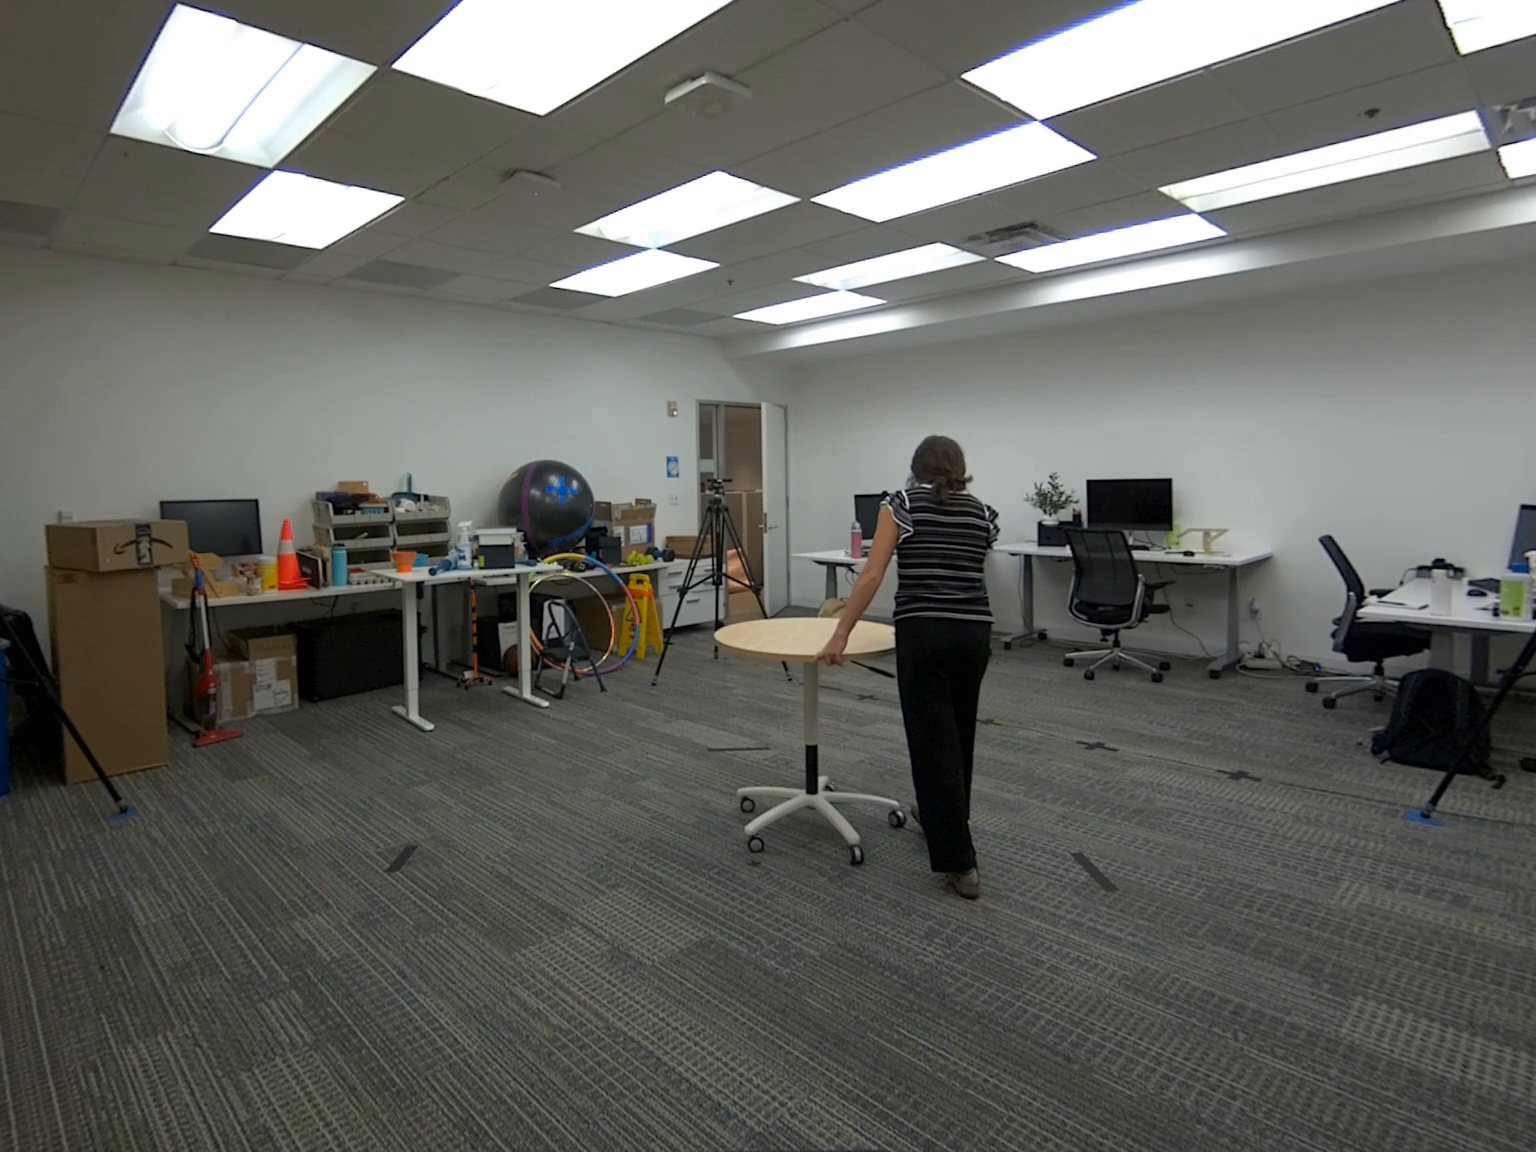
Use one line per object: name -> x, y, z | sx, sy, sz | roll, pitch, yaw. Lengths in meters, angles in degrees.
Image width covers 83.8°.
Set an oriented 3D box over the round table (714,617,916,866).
round table -> 0.170, 0.620, 3.402 | 0.763, 0.791, 0.768 | -1, 5, -2
